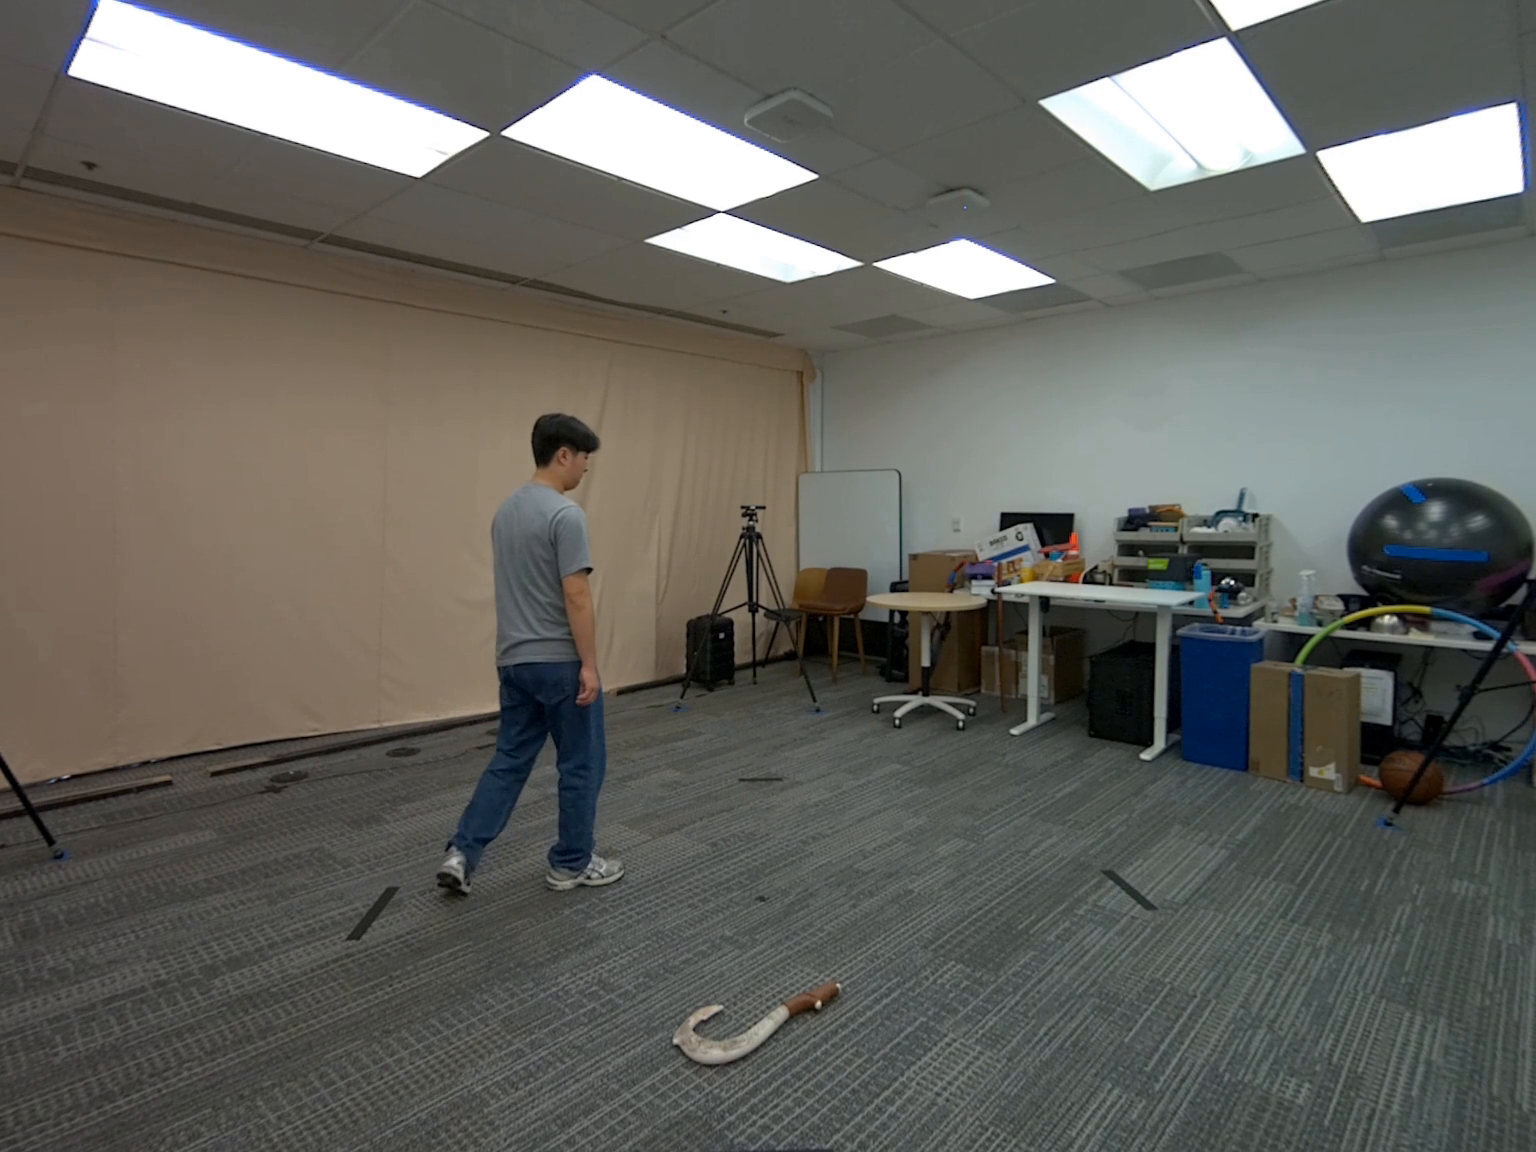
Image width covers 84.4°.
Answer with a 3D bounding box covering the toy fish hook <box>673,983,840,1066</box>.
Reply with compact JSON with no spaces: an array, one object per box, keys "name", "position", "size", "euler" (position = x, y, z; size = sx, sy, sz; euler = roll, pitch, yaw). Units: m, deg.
[{"name":"toy fish hook","position":[-0.019,1.179,2.280],"size":[0.491,0.048,0.232],"euler":[-3,6,-38]}]
